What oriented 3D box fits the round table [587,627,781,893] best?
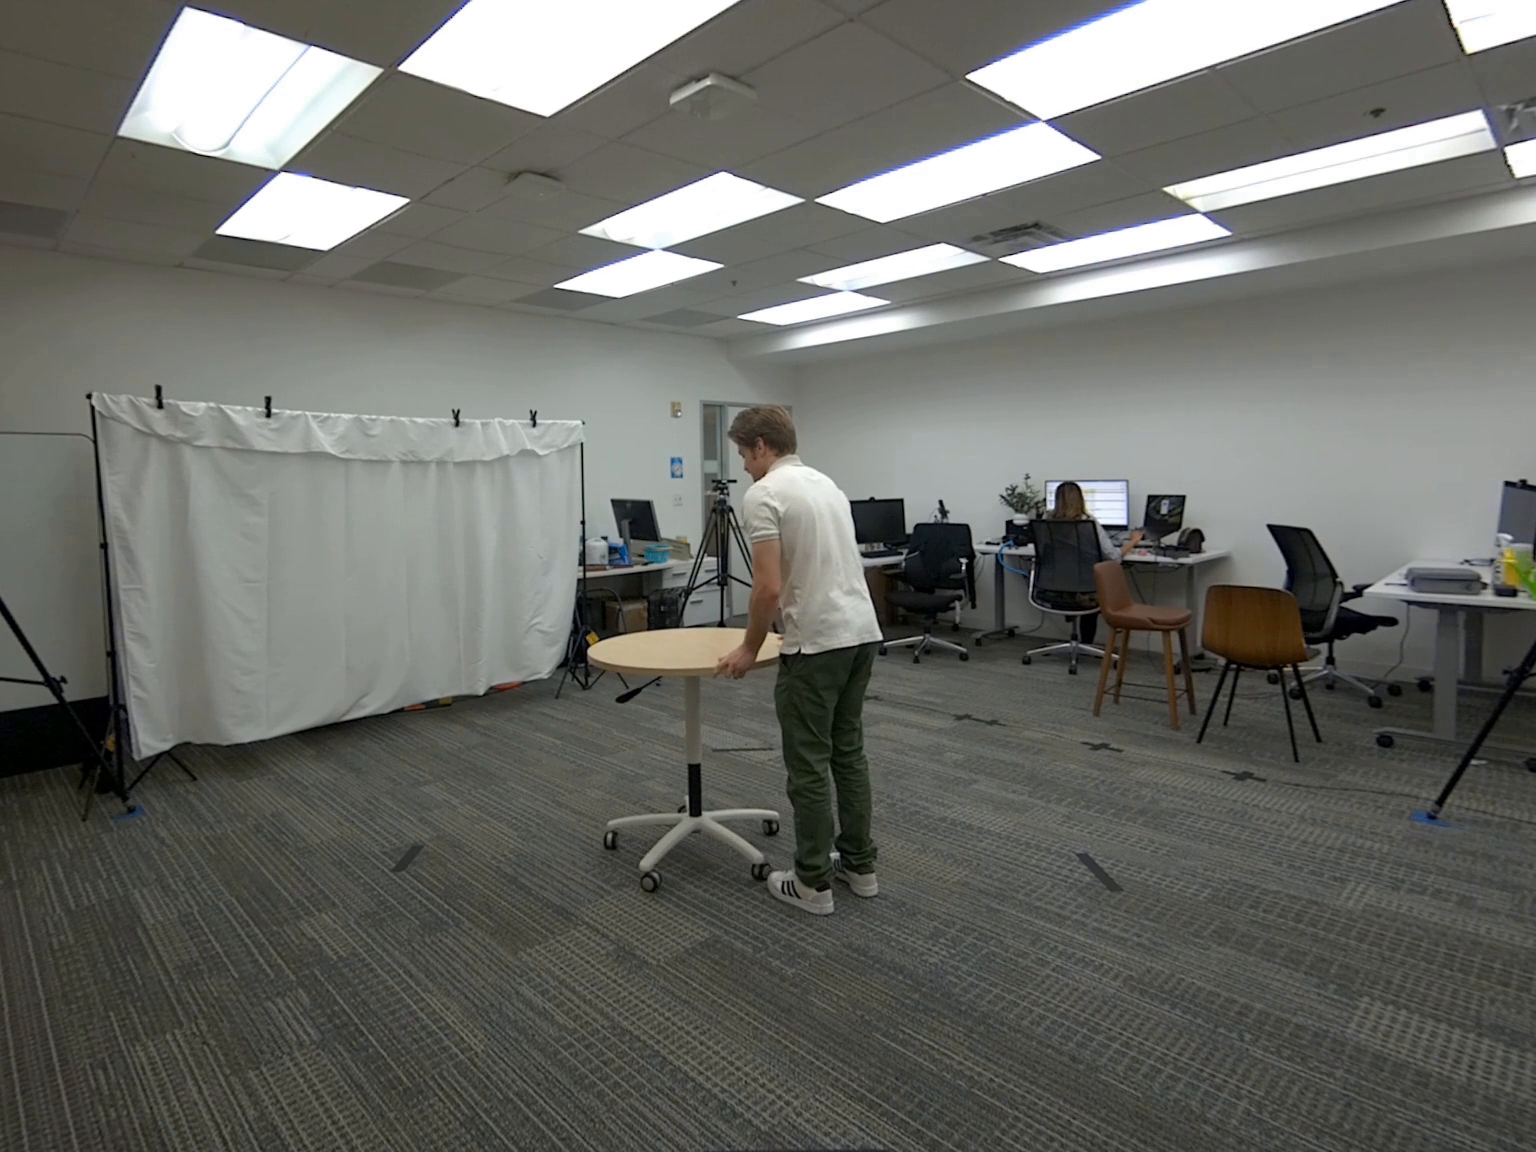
[{"bbox_3d":[-0.275,0.651,3.207,0.763,0.791,0.768,-1,5,-2],"label":"round table"}]
